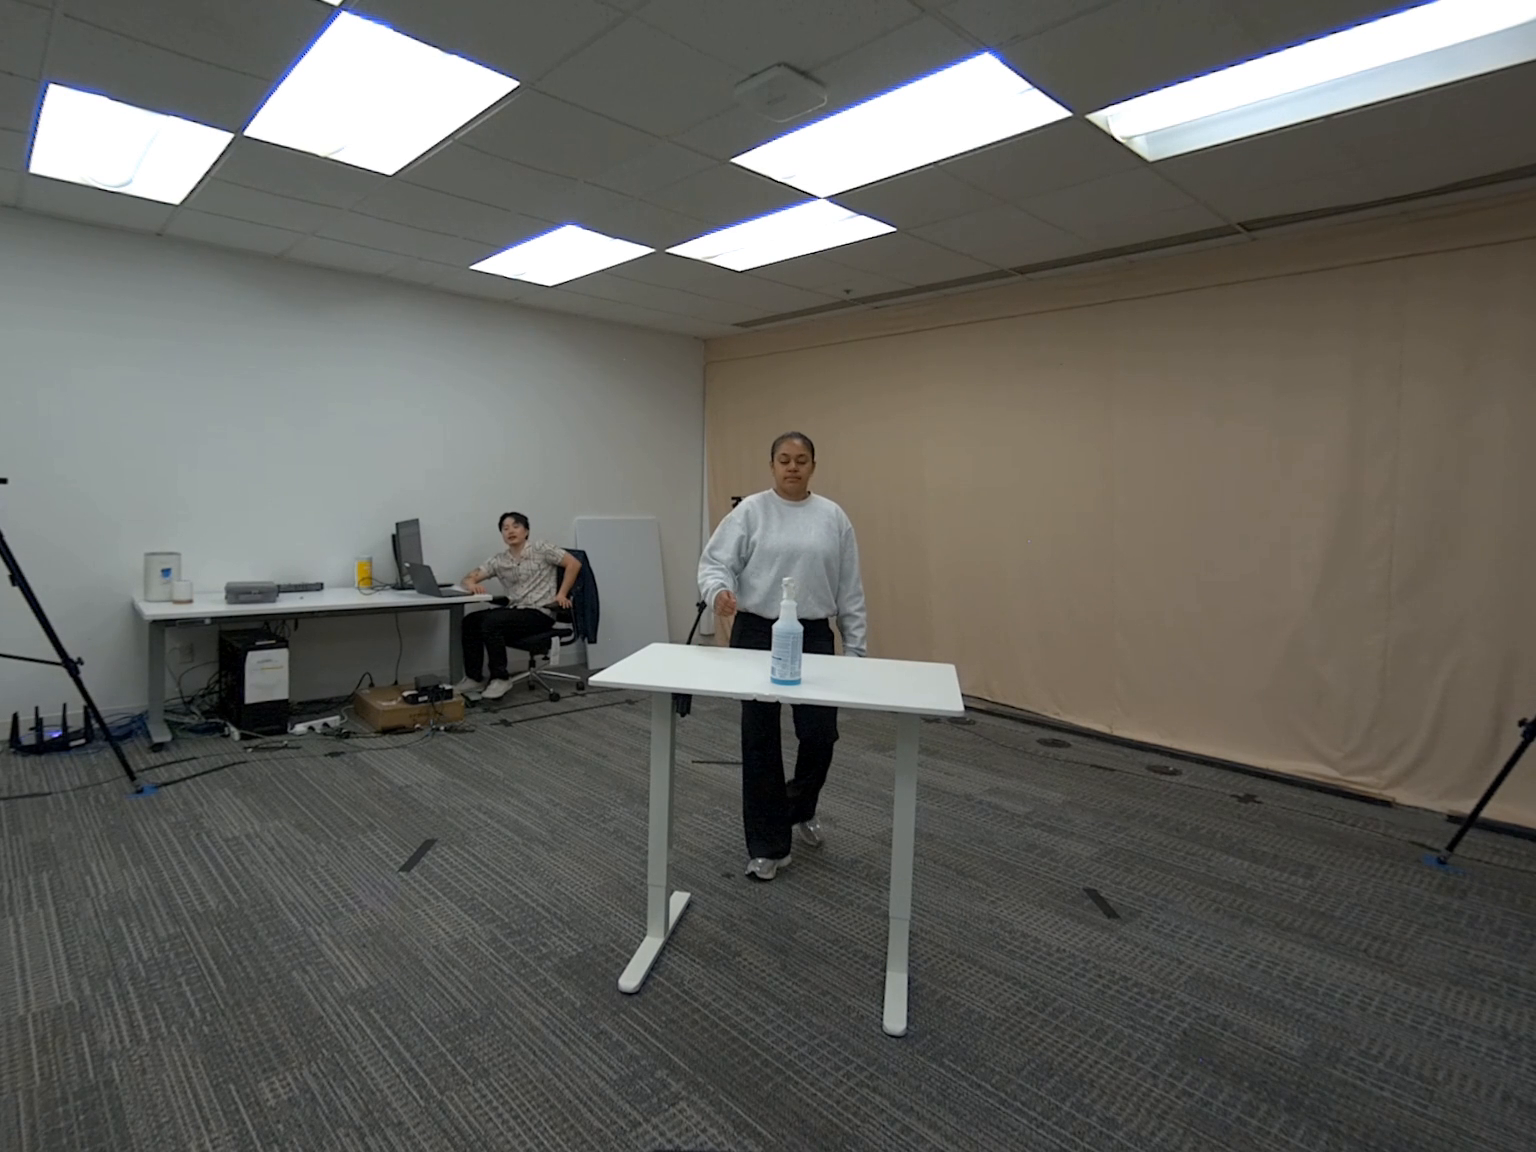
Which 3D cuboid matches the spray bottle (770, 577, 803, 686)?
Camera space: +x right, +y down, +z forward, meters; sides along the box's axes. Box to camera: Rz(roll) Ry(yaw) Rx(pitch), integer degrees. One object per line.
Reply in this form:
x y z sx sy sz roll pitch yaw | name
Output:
0.041 0.155 2.345 0.089 0.296 0.088 6 8 41 | spray bottle
